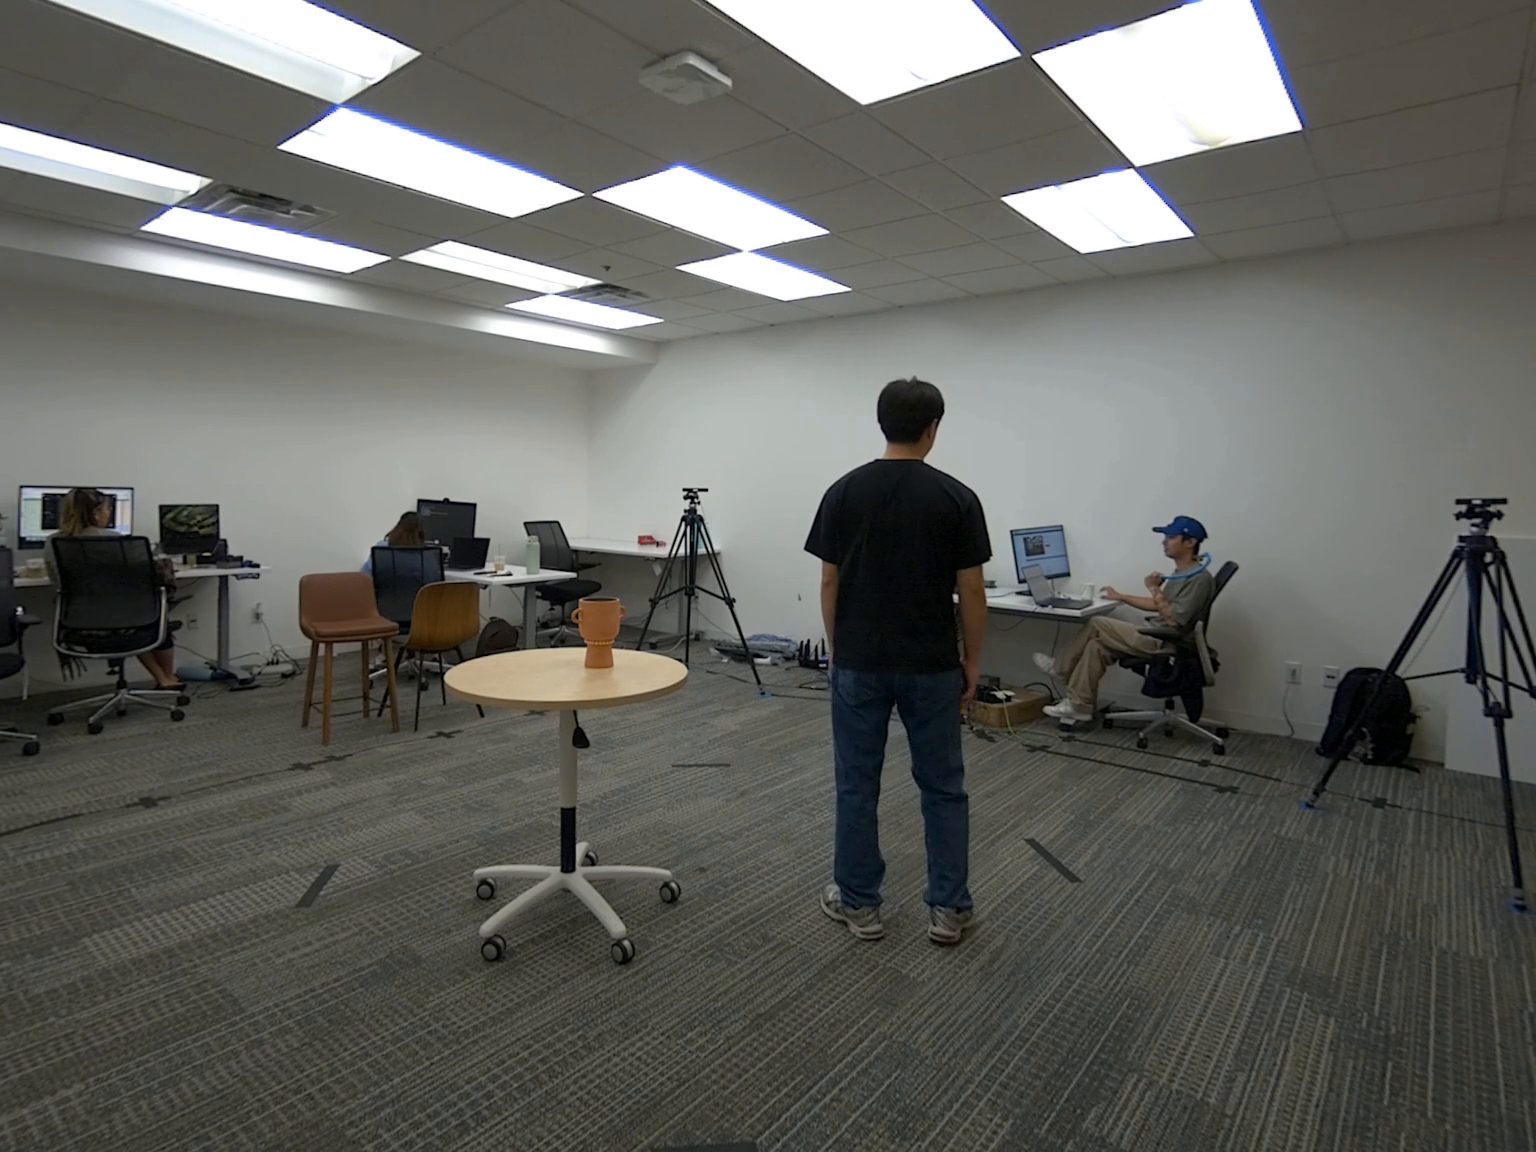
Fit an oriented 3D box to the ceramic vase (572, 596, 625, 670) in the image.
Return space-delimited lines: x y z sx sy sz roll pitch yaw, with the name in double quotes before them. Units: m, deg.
"ceramic vase" -0.575 0.189 2.809 0.159 0.219 0.135 1 5 3
